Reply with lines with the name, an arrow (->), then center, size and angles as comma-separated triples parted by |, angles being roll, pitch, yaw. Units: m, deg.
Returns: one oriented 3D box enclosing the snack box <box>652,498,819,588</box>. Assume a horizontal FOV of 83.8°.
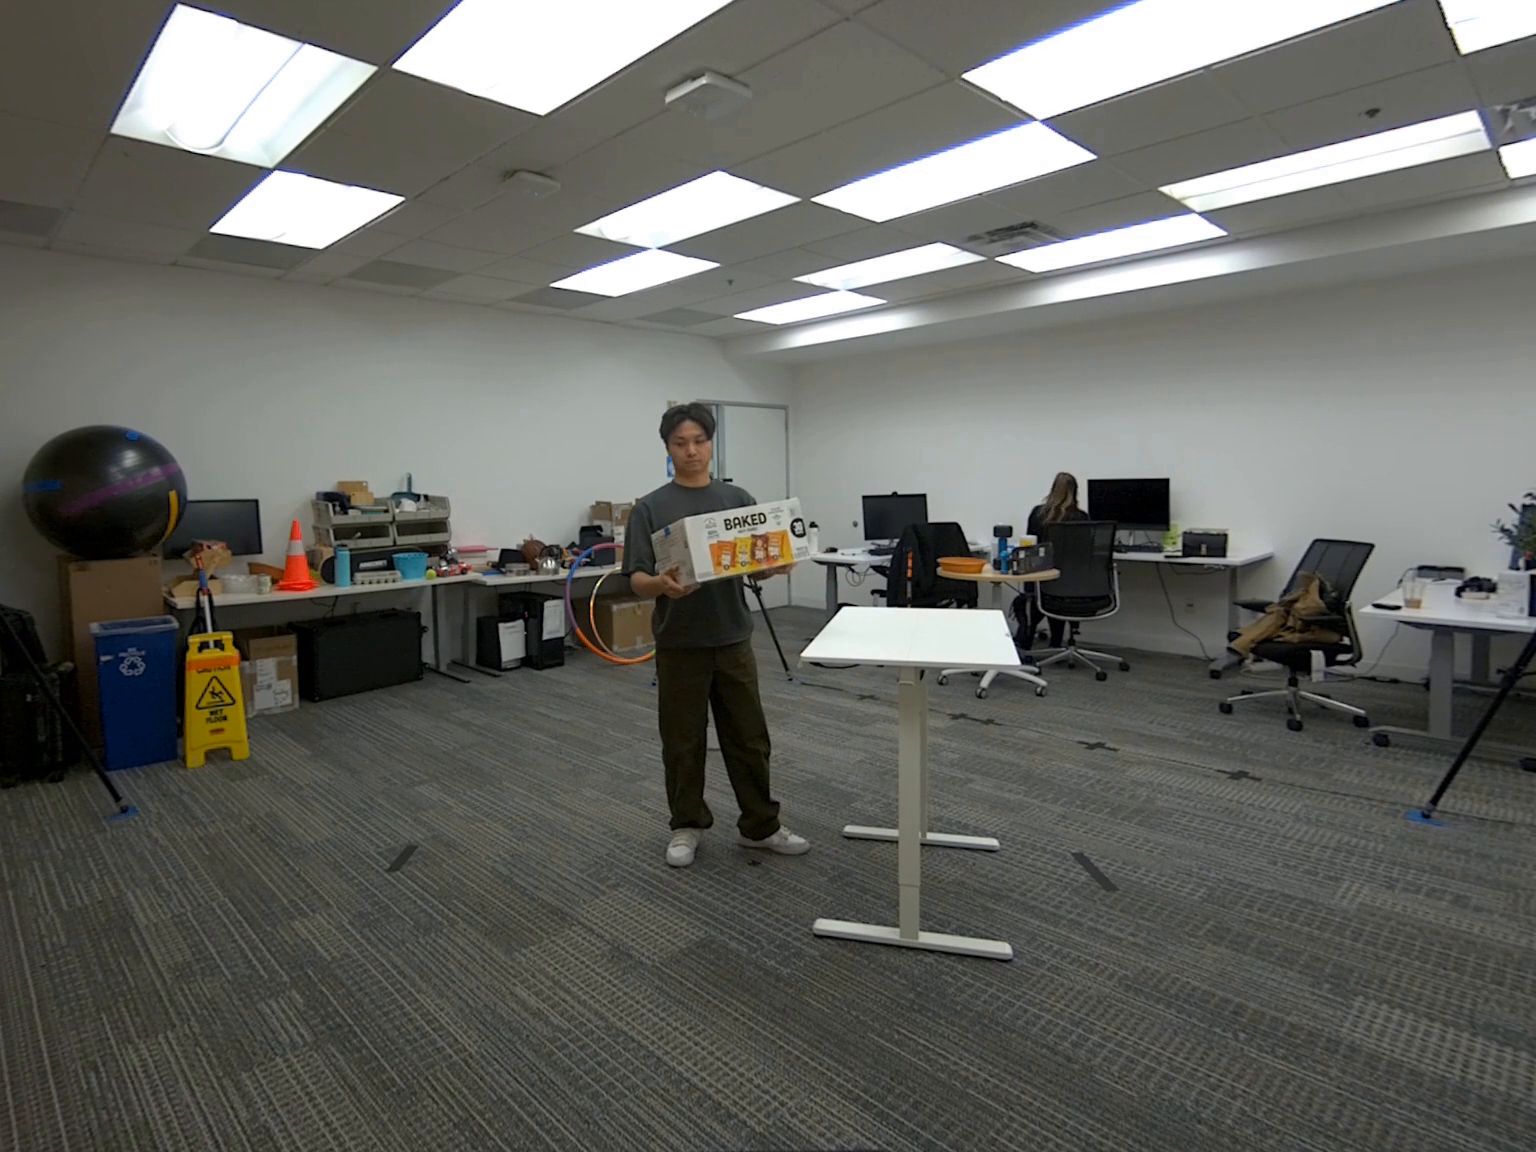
snack box -> -0.132, -0.095, 2.819 | 0.398, 0.206, 0.345 | -12, -2, -24
